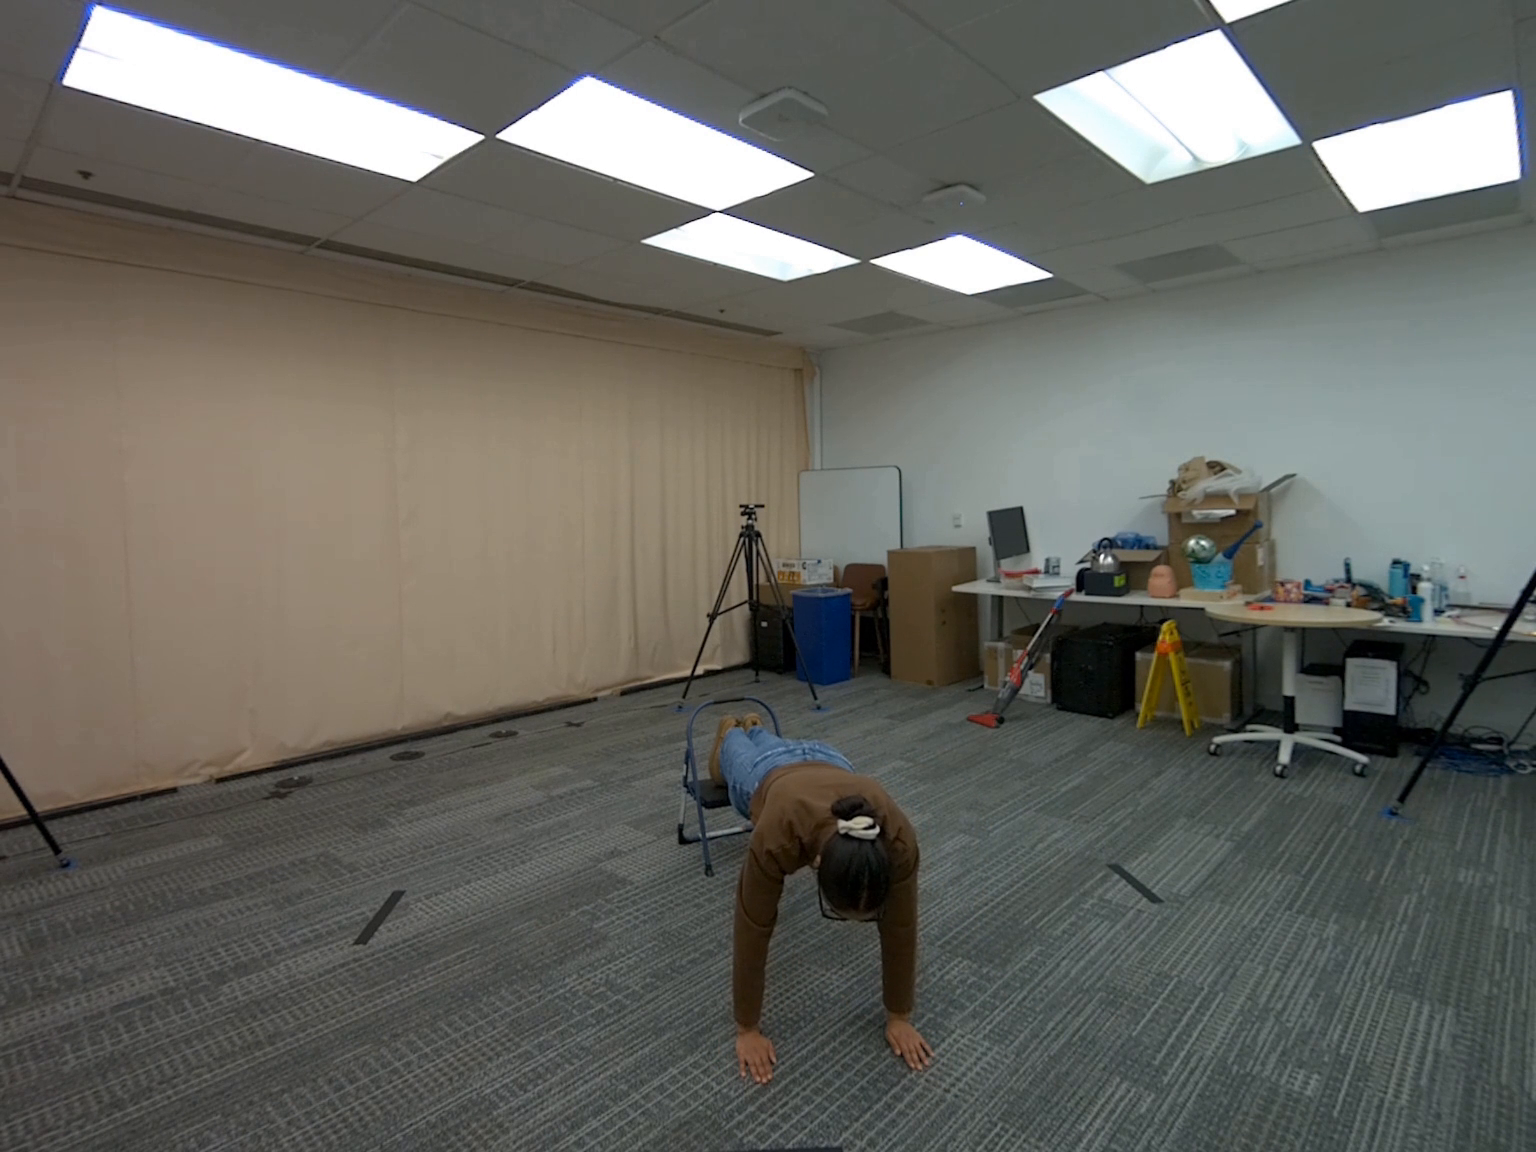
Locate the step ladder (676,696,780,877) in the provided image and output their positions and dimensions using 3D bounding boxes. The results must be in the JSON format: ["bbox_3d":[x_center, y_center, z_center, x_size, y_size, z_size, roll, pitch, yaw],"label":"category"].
[{"bbox_3d":[-0.119,0.807,3.389,0.420,0.605,0.358,-3,3,-25],"label":"step ladder"}]
